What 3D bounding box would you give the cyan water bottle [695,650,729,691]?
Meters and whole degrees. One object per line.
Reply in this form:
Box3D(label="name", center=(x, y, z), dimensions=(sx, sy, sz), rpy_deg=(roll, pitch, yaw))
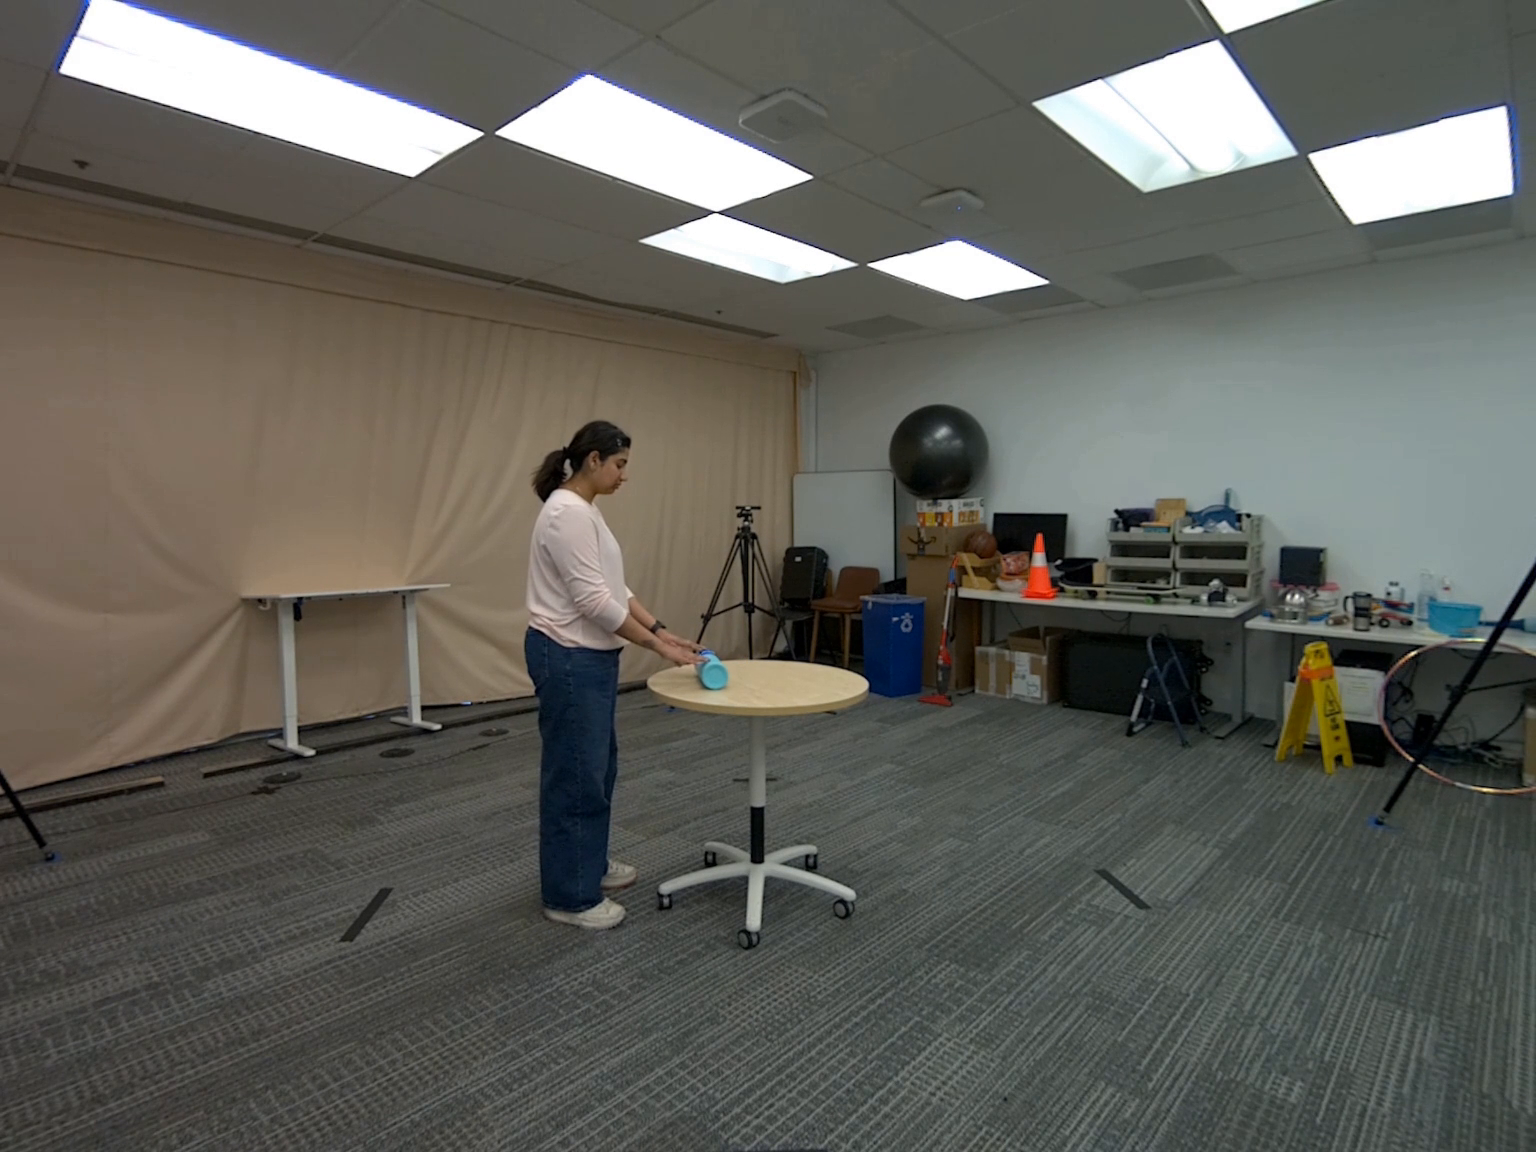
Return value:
Box3D(label="cyan water bottle", center=(-0.200, 0.319, 2.914), dimensions=(0.091, 0.092, 0.287), rpy_deg=(-1, 6, -11))
